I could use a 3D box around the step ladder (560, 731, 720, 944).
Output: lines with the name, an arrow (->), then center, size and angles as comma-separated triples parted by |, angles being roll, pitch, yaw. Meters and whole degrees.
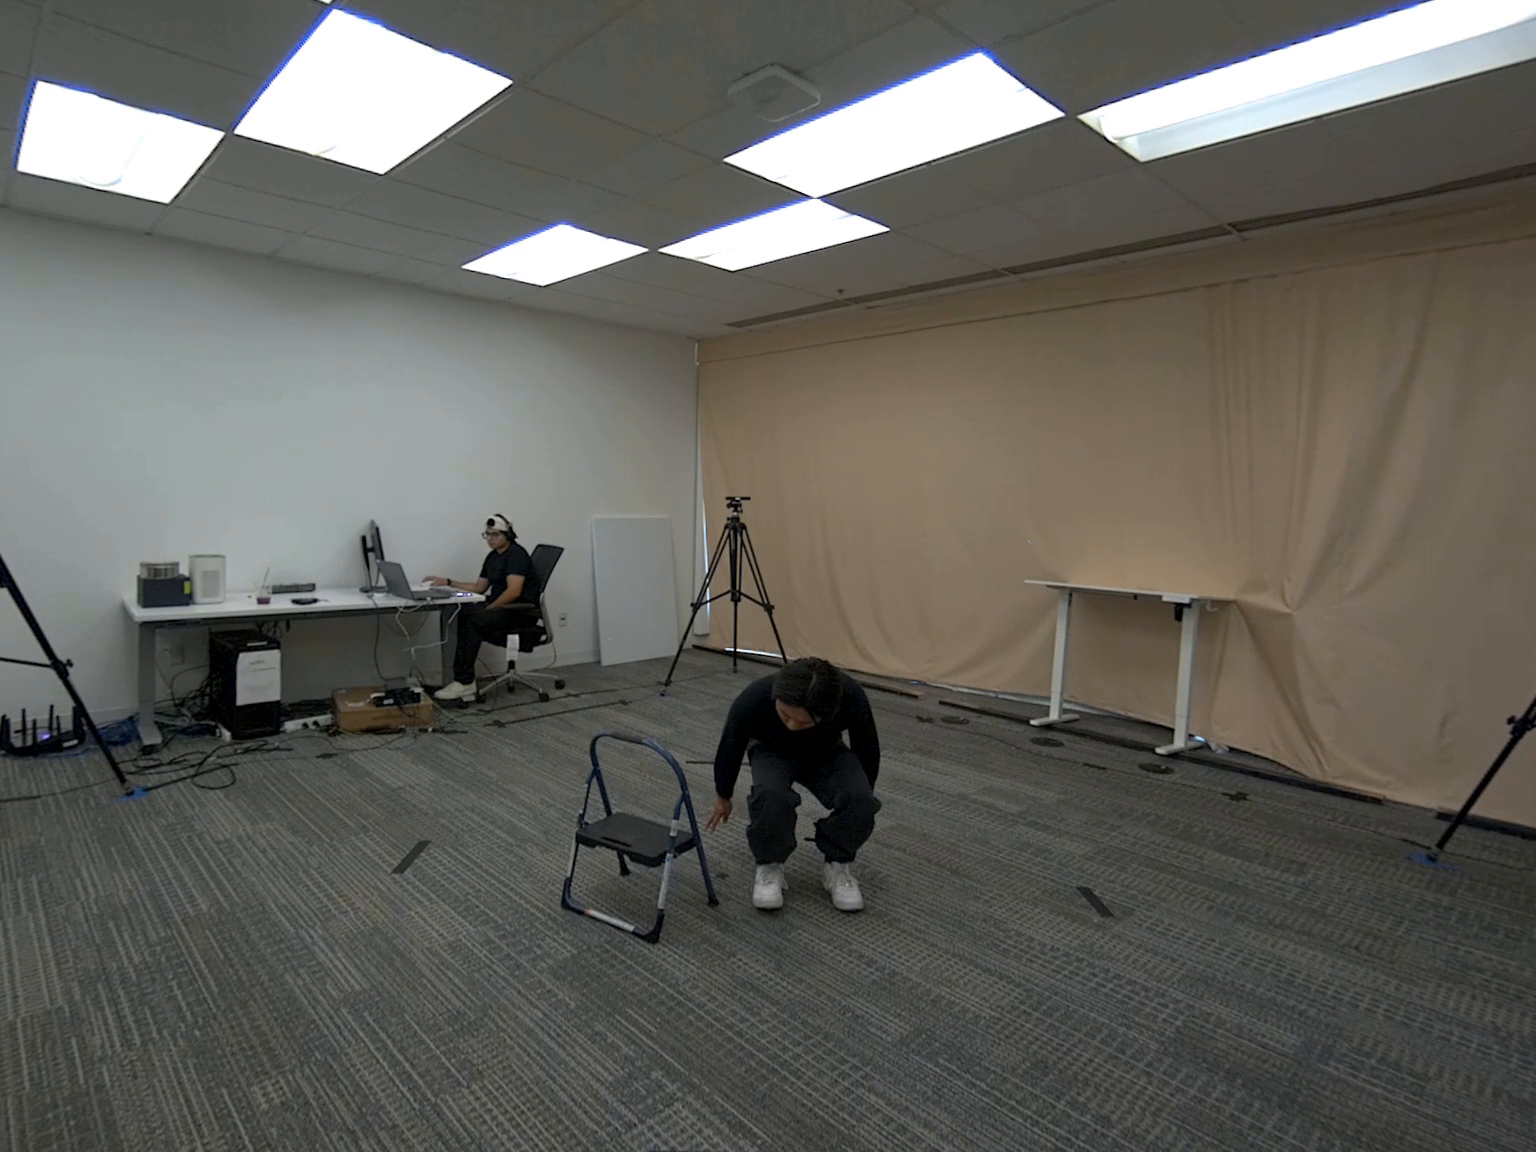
step ladder -> -0.437, 0.820, 2.849 | 0.440, 0.604, 0.342 | 3, 4, 32
